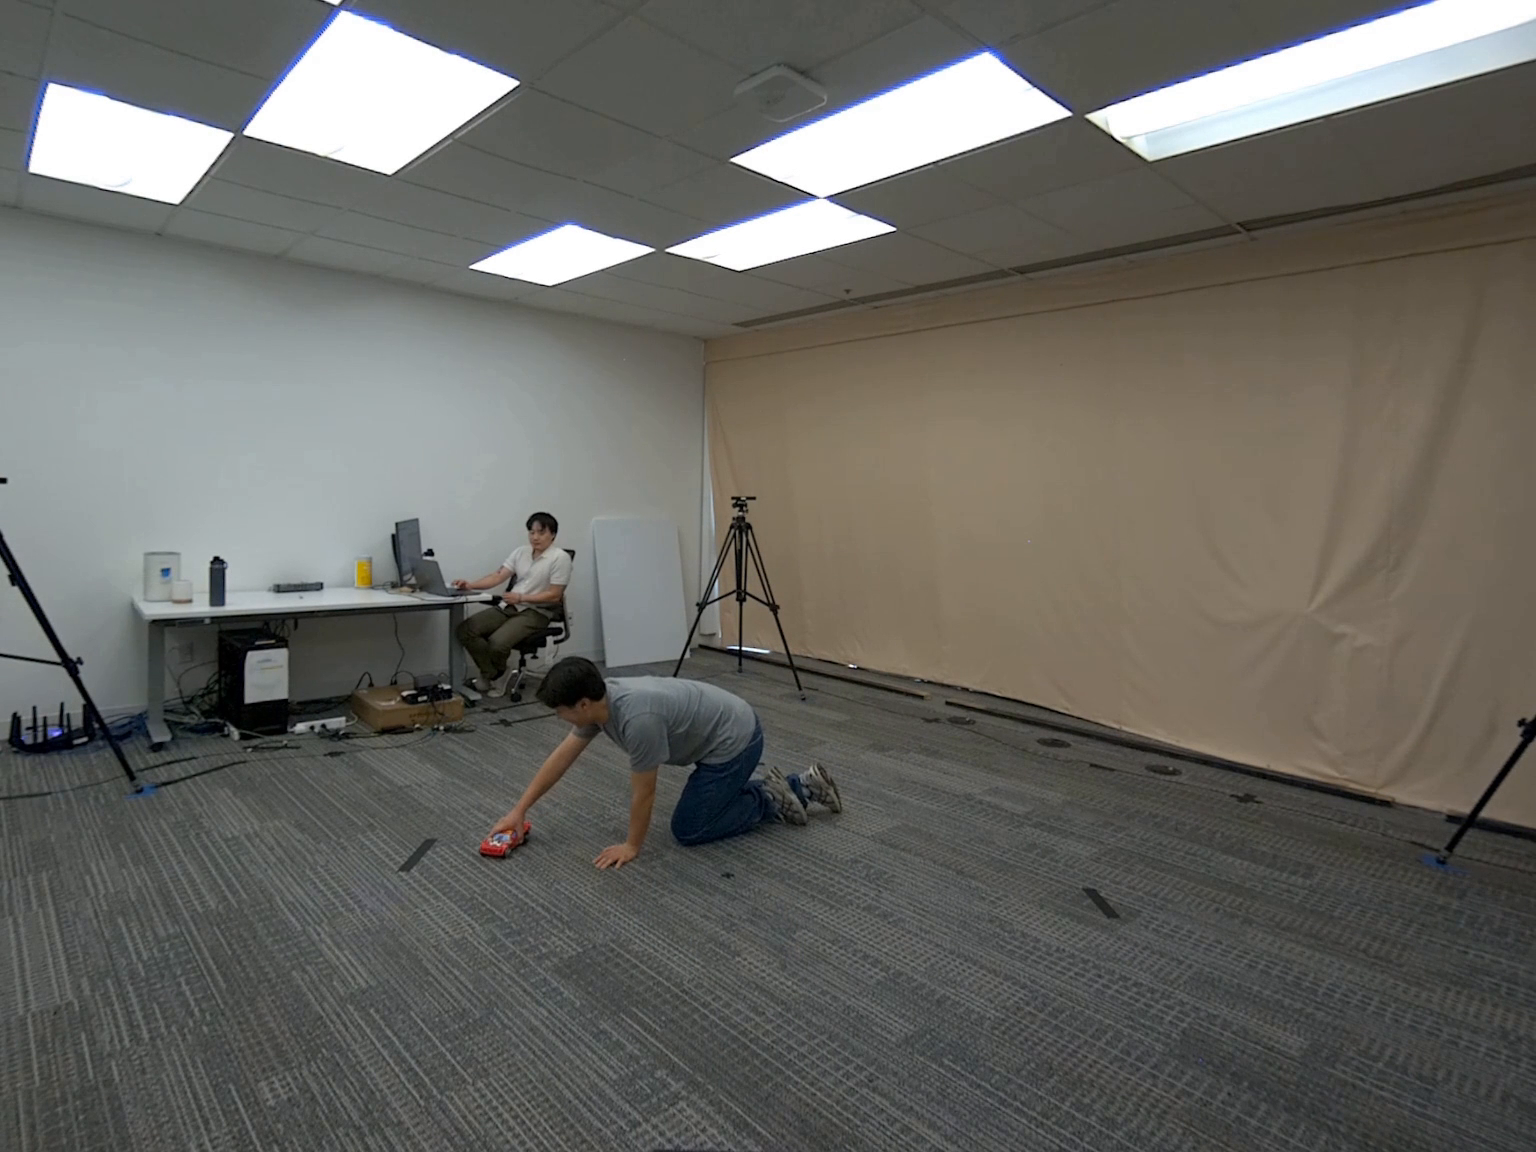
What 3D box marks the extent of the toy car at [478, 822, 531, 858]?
[{"bbox_3d":[-1.037,1.037,3.305,0.131,0.082,0.254,0,14,12],"label":"toy car"}]
